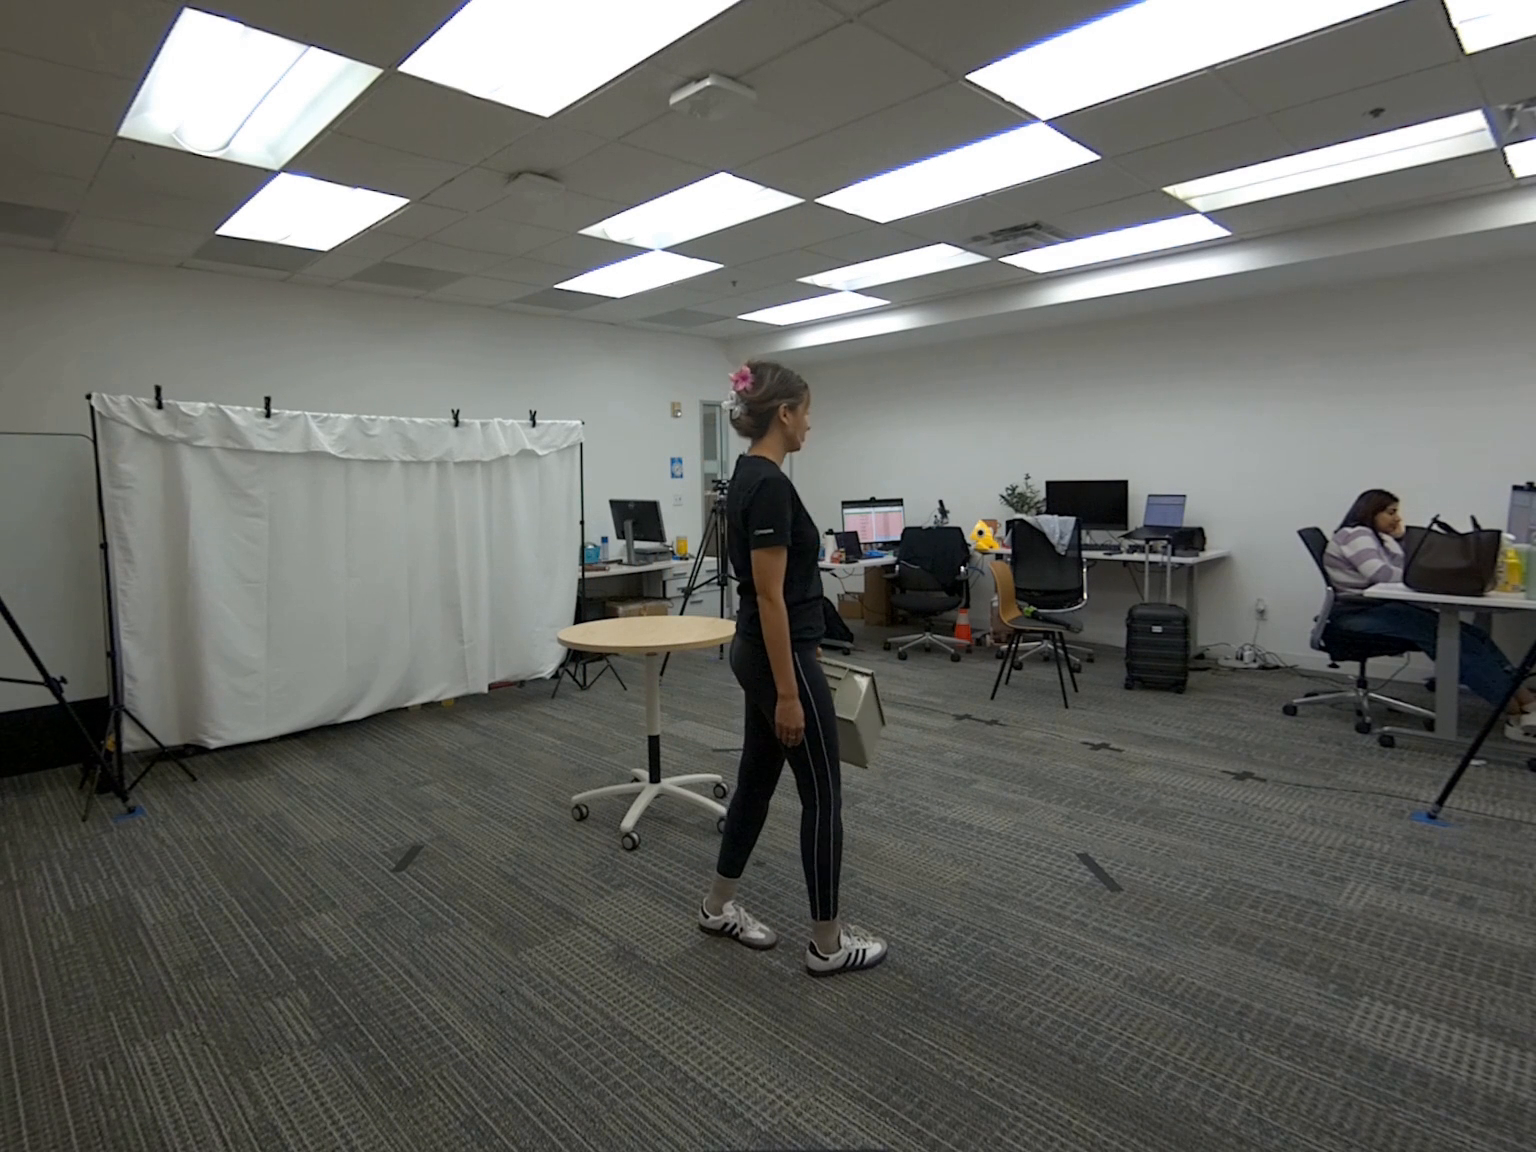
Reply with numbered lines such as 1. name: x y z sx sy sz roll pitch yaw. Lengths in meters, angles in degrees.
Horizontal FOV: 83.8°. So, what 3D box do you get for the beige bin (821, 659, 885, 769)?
1. beige bin: 0.179 0.452 2.918 0.387 0.191 0.407 14 -30 24
